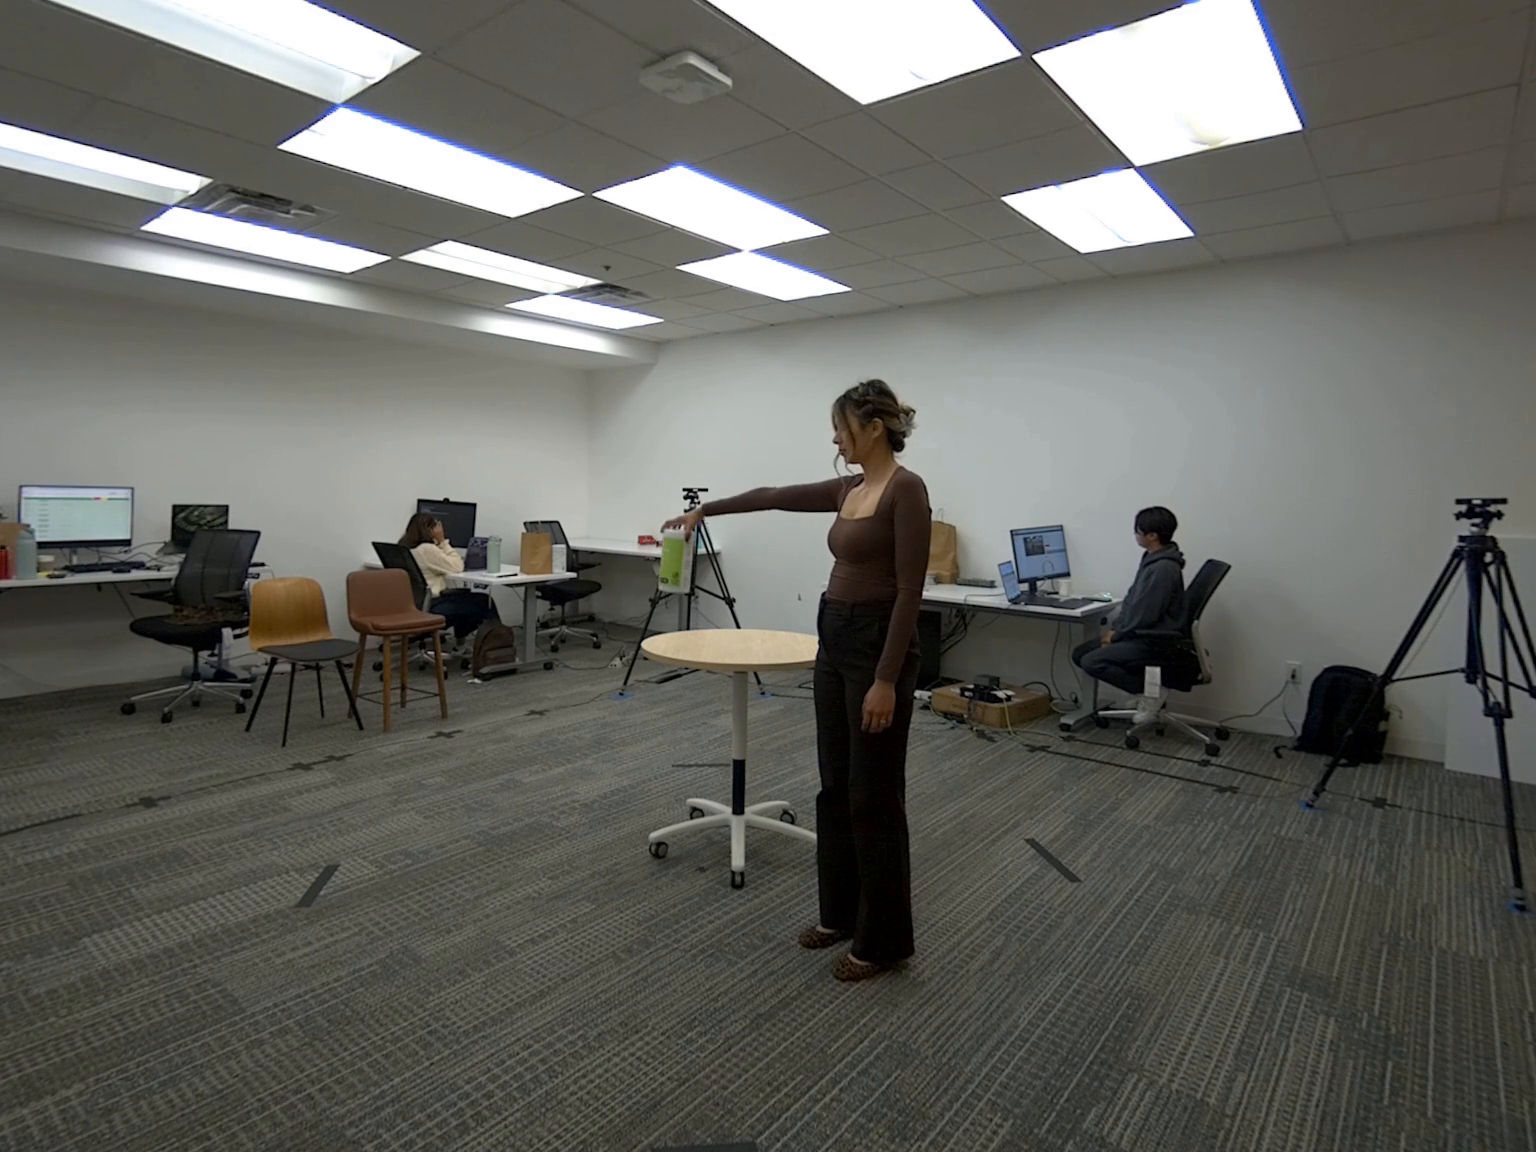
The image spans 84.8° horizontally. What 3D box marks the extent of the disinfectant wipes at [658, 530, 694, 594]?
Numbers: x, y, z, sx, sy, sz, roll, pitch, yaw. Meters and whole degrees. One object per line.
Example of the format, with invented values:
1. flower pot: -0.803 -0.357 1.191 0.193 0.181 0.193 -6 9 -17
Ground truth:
1. disinfectant wipes: -0.321 -0.058 2.954 0.117 0.217 0.118 4 3 -2
